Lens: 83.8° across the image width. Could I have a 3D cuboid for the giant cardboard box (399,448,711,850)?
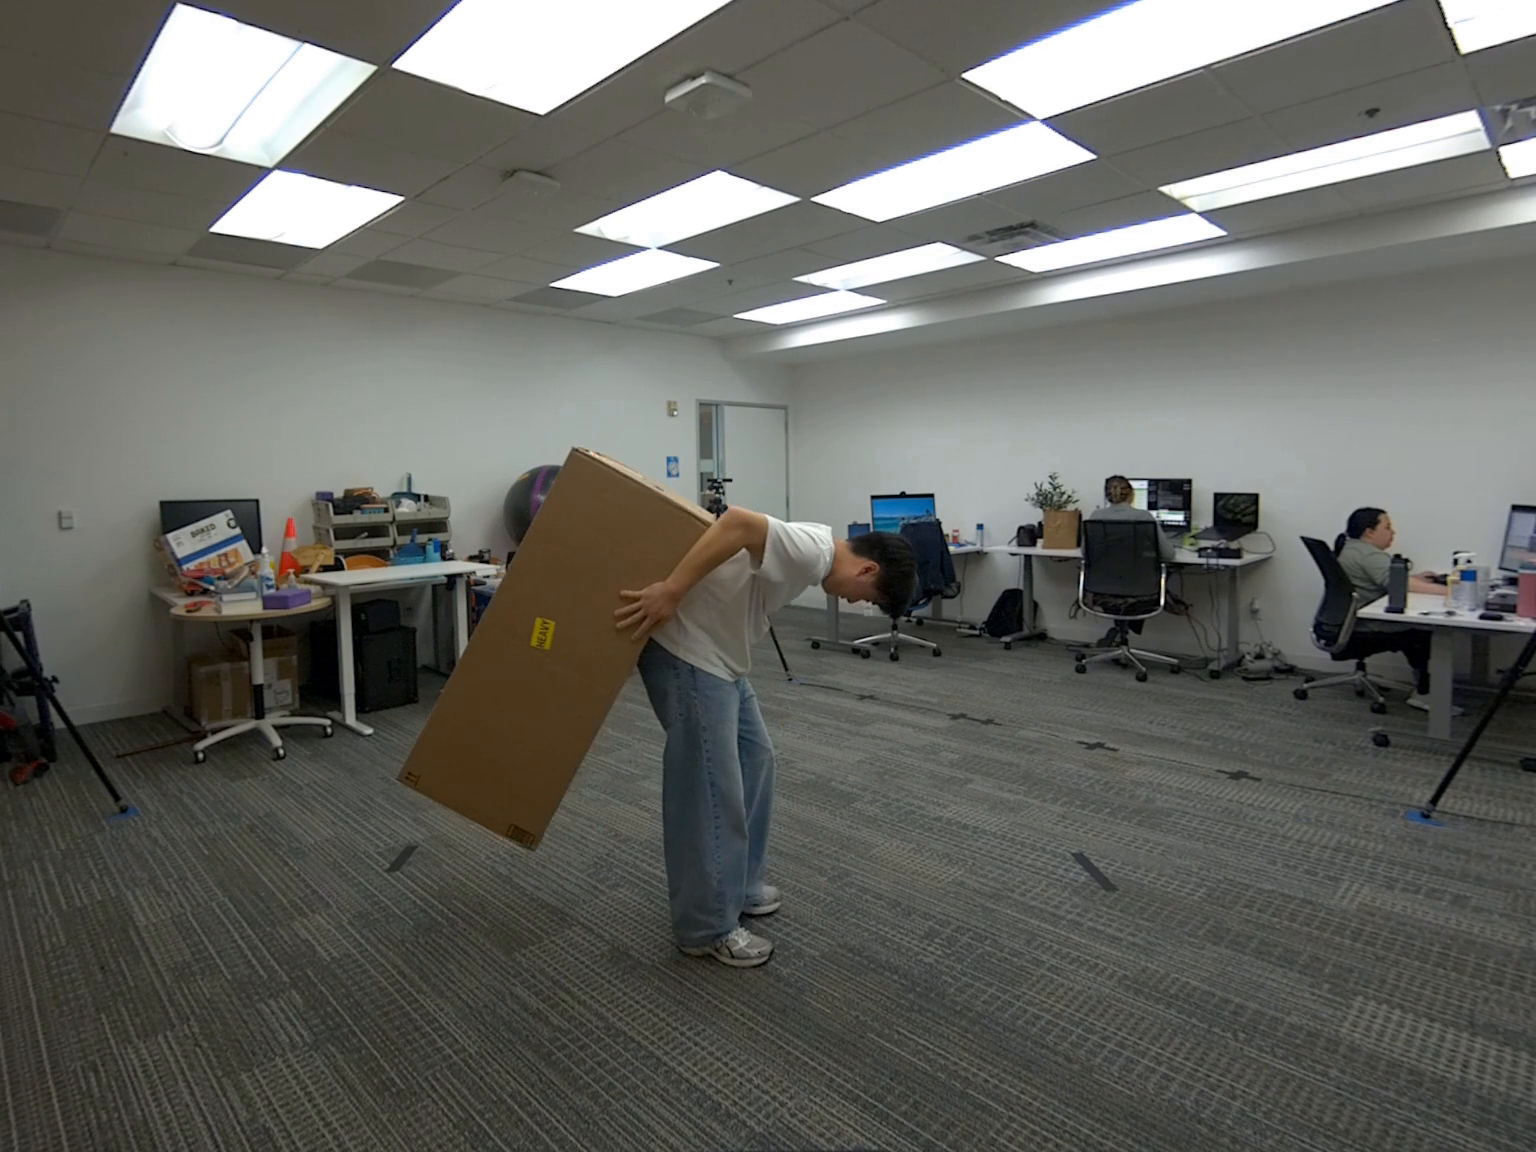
[{"bbox_3d":[-0.589,0.174,2.560,0.425,1.024,0.580,28,4,-4],"label":"giant cardboard box"}]
